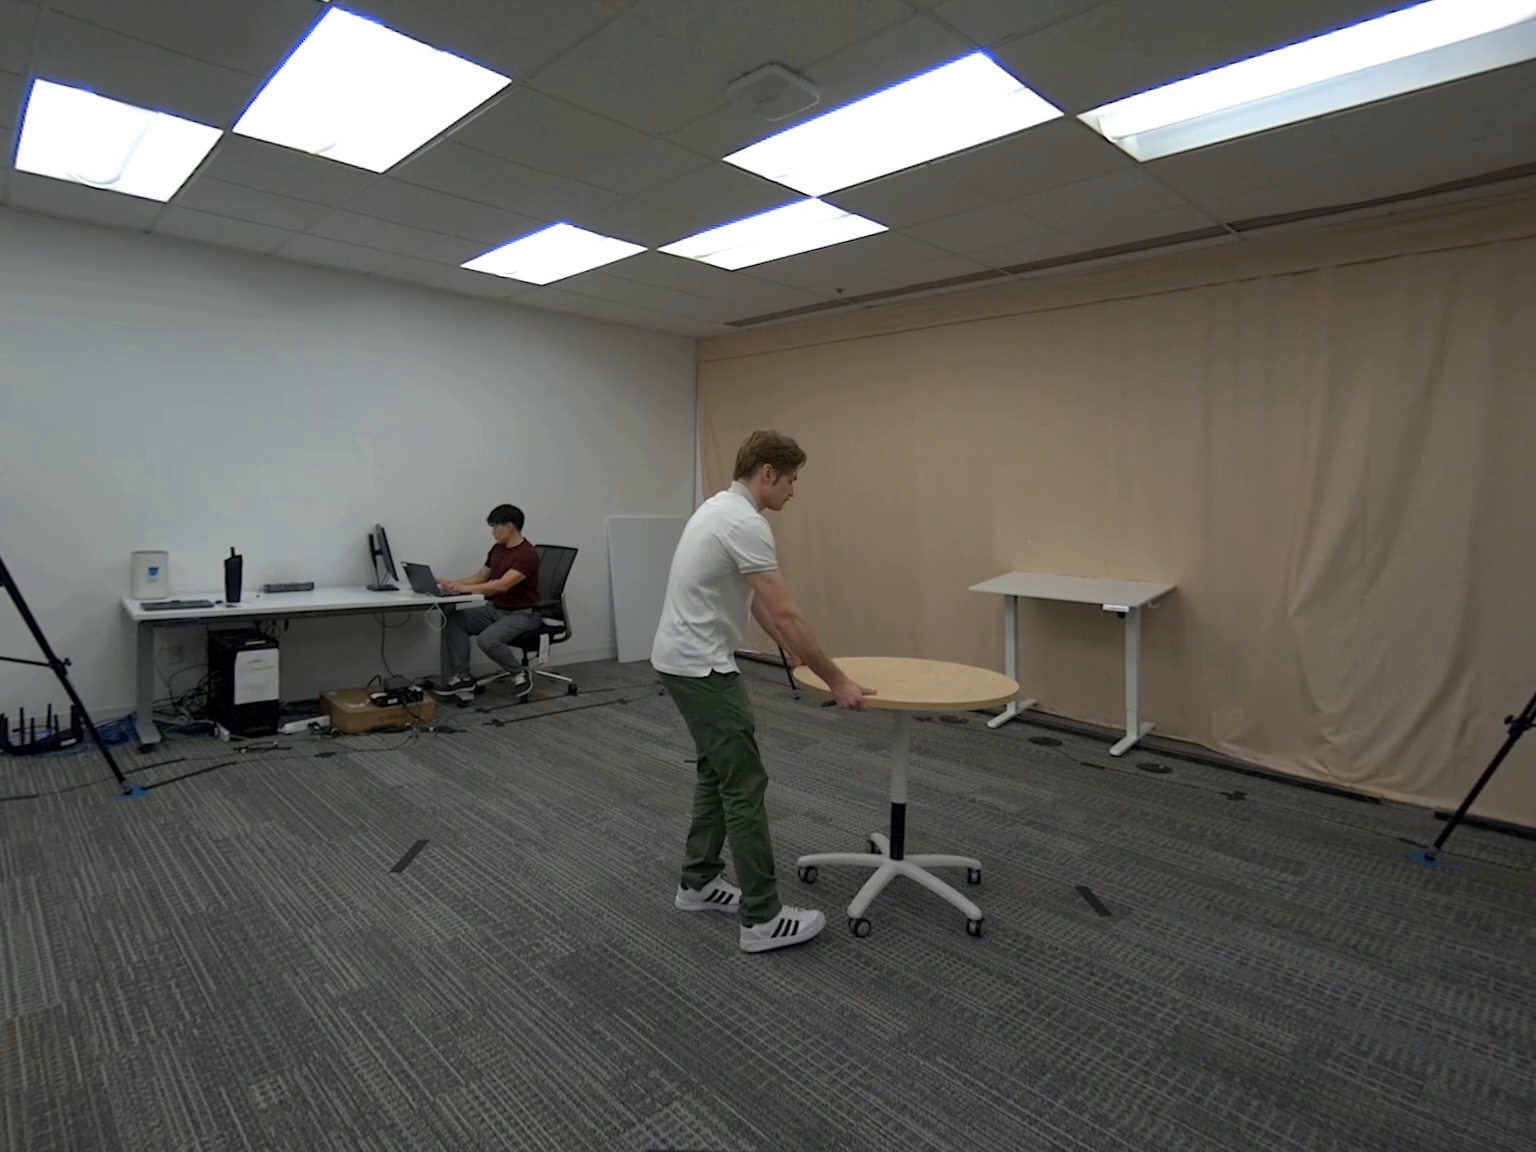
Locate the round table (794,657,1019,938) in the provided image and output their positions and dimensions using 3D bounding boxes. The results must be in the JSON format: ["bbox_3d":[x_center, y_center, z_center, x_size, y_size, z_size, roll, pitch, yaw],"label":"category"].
[{"bbox_3d":[0.440,0.738,2.942,0.784,0.784,0.788,1,4,-1],"label":"round table"}]
